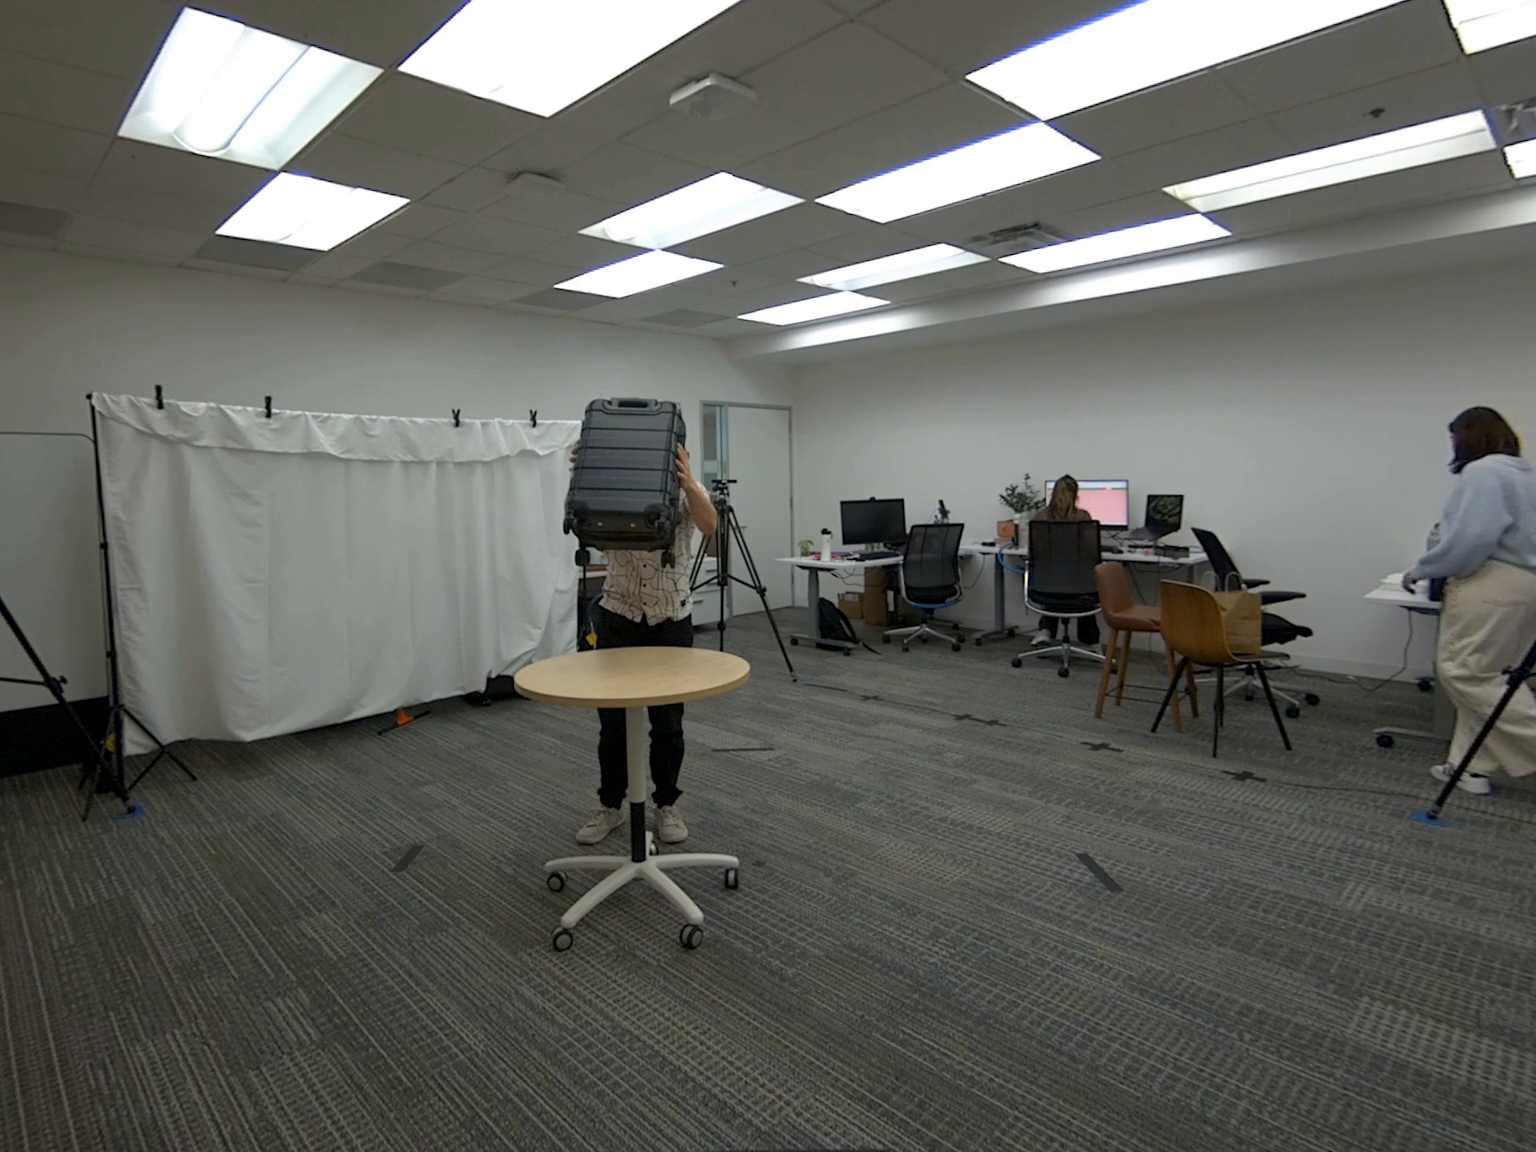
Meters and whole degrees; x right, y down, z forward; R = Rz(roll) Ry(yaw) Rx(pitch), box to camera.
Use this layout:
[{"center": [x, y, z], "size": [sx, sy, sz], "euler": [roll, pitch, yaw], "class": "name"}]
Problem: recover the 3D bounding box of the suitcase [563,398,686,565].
[{"center": [-0.481, -0.331, 2.908], "size": [0.377, 0.562, 0.242], "euler": [1, -30, 3], "class": "suitcase"}]
